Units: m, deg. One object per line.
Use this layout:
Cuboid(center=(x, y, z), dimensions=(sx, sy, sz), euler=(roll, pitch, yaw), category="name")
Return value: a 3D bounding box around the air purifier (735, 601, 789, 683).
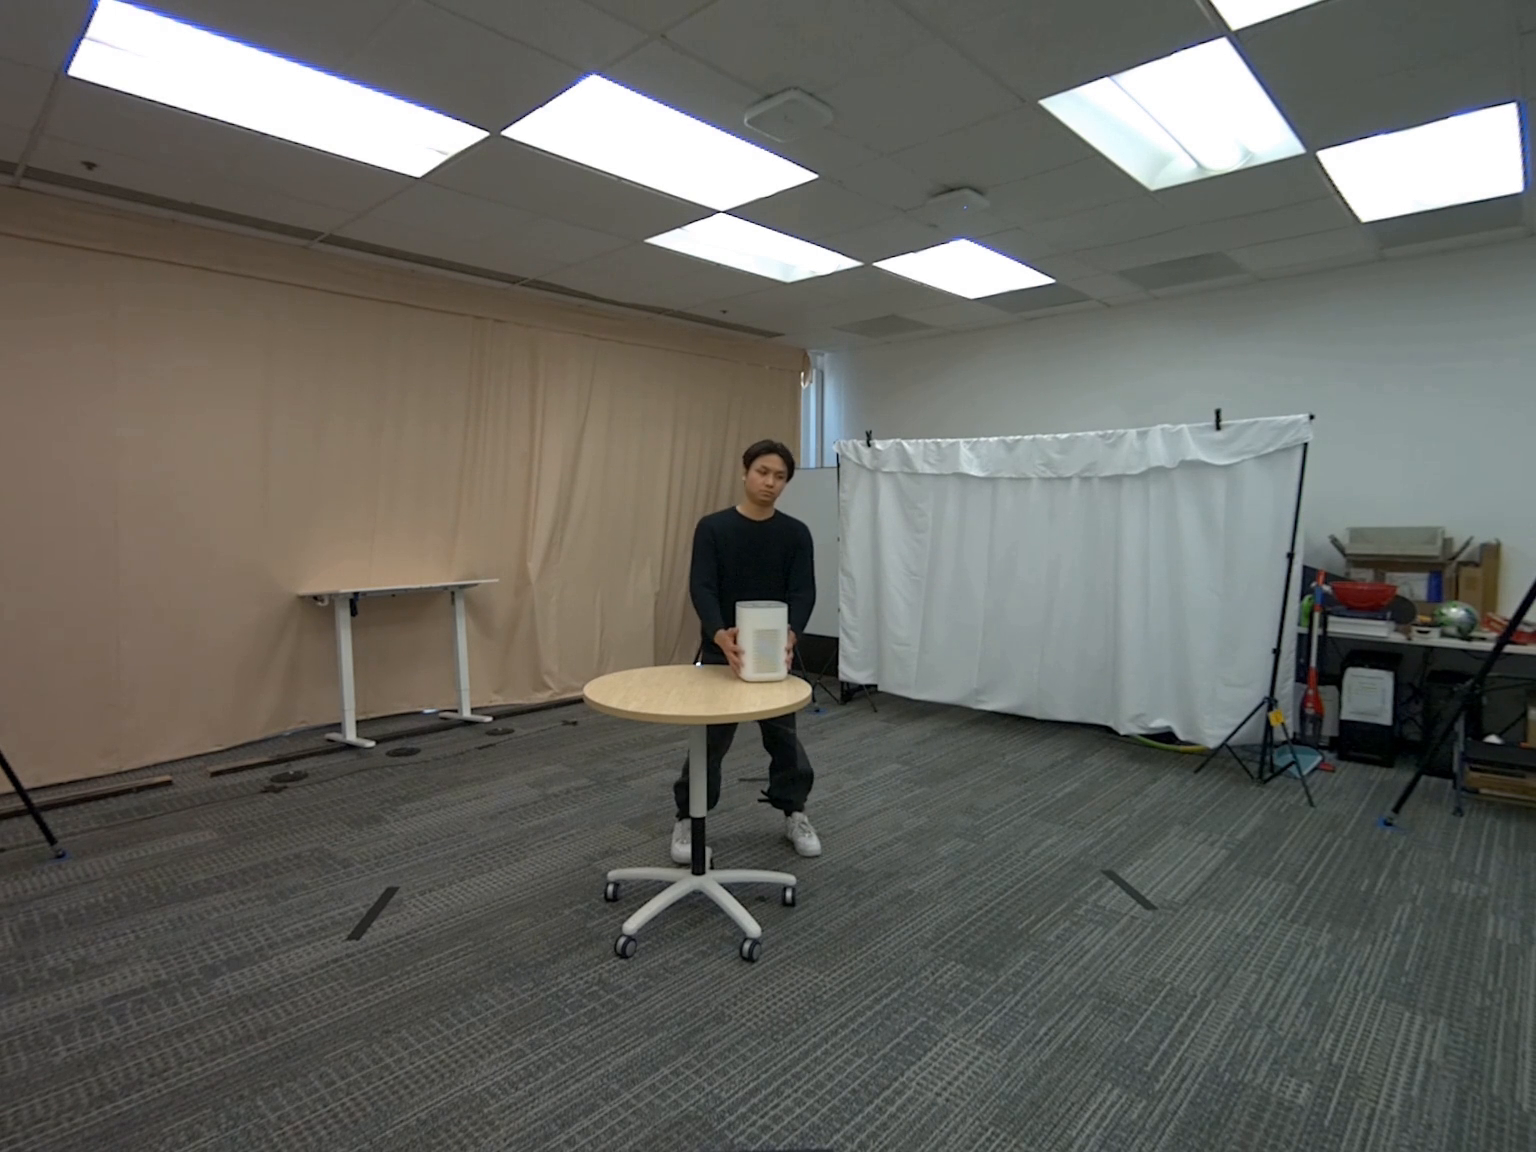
Cuboid(center=(-0.026, 0.228, 2.971), dimensions=(0.170, 0.265, 0.173), euler=(-1, 3, -11), category="air purifier")
